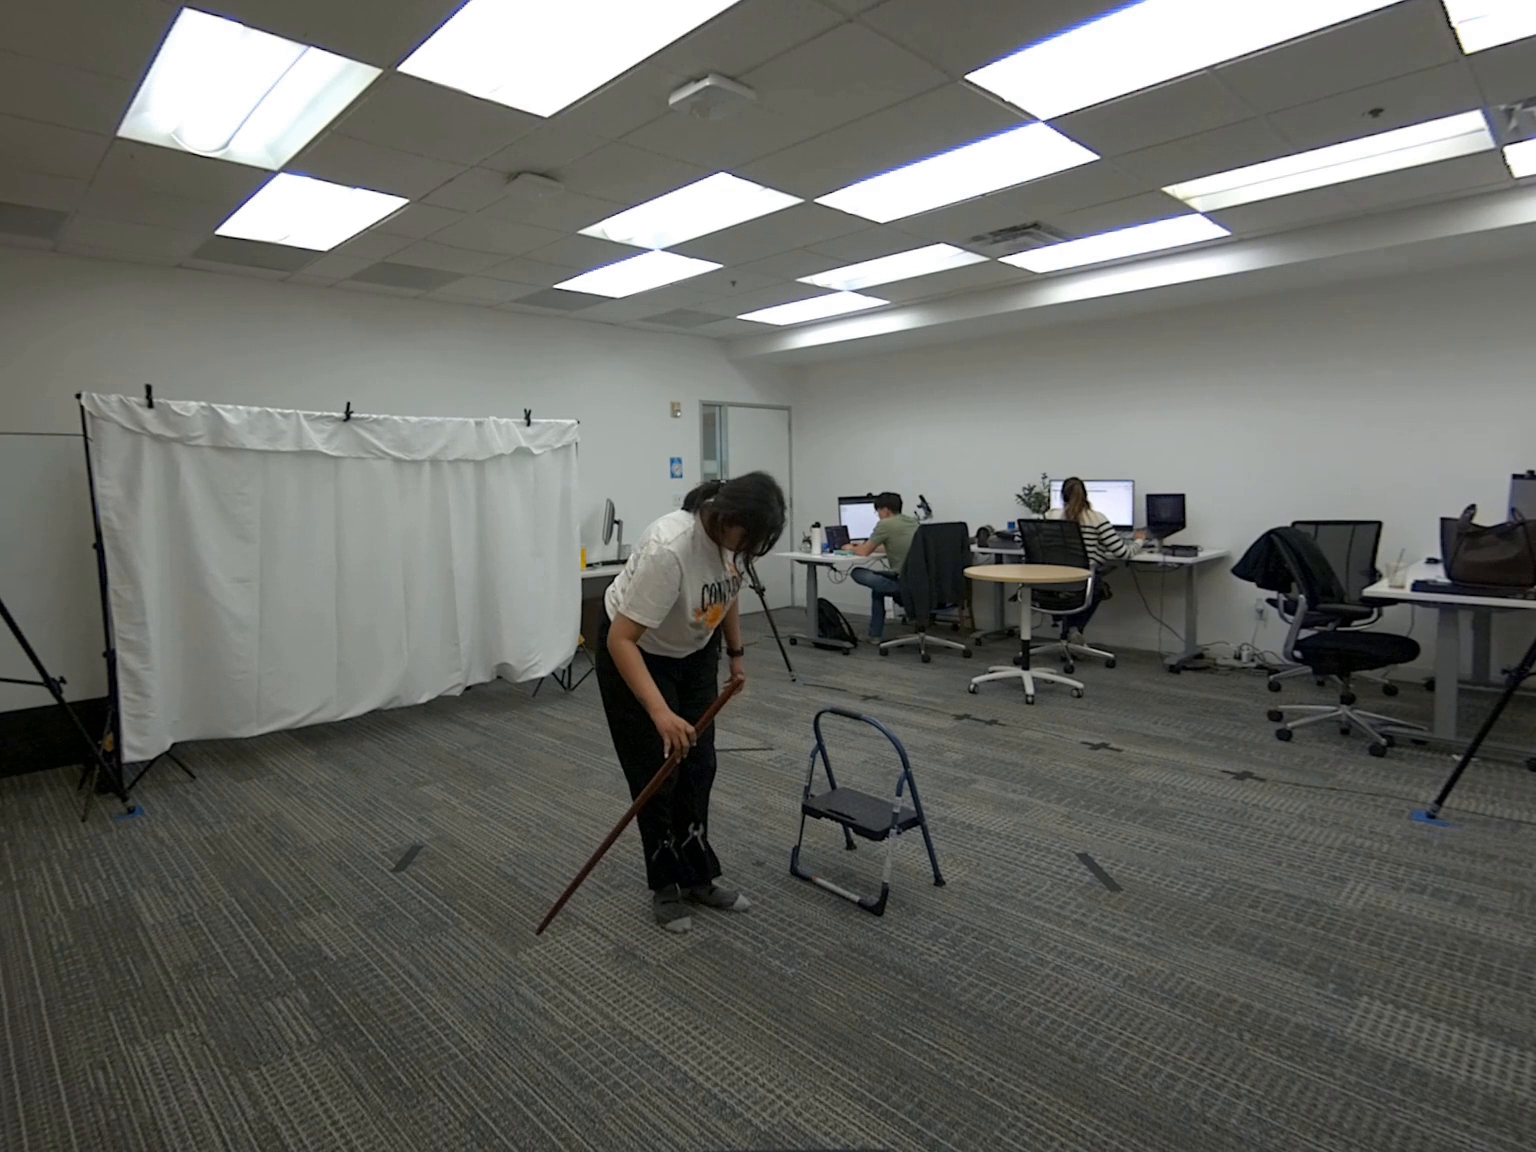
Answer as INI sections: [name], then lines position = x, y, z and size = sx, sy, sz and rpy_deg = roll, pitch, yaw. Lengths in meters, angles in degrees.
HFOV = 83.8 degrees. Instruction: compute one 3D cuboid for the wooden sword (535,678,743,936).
[wooden sword]
position = -0.391, 0.671, 2.370
size = 0.024, 1.022, 0.051
rpy_deg = 38, 14, 5
